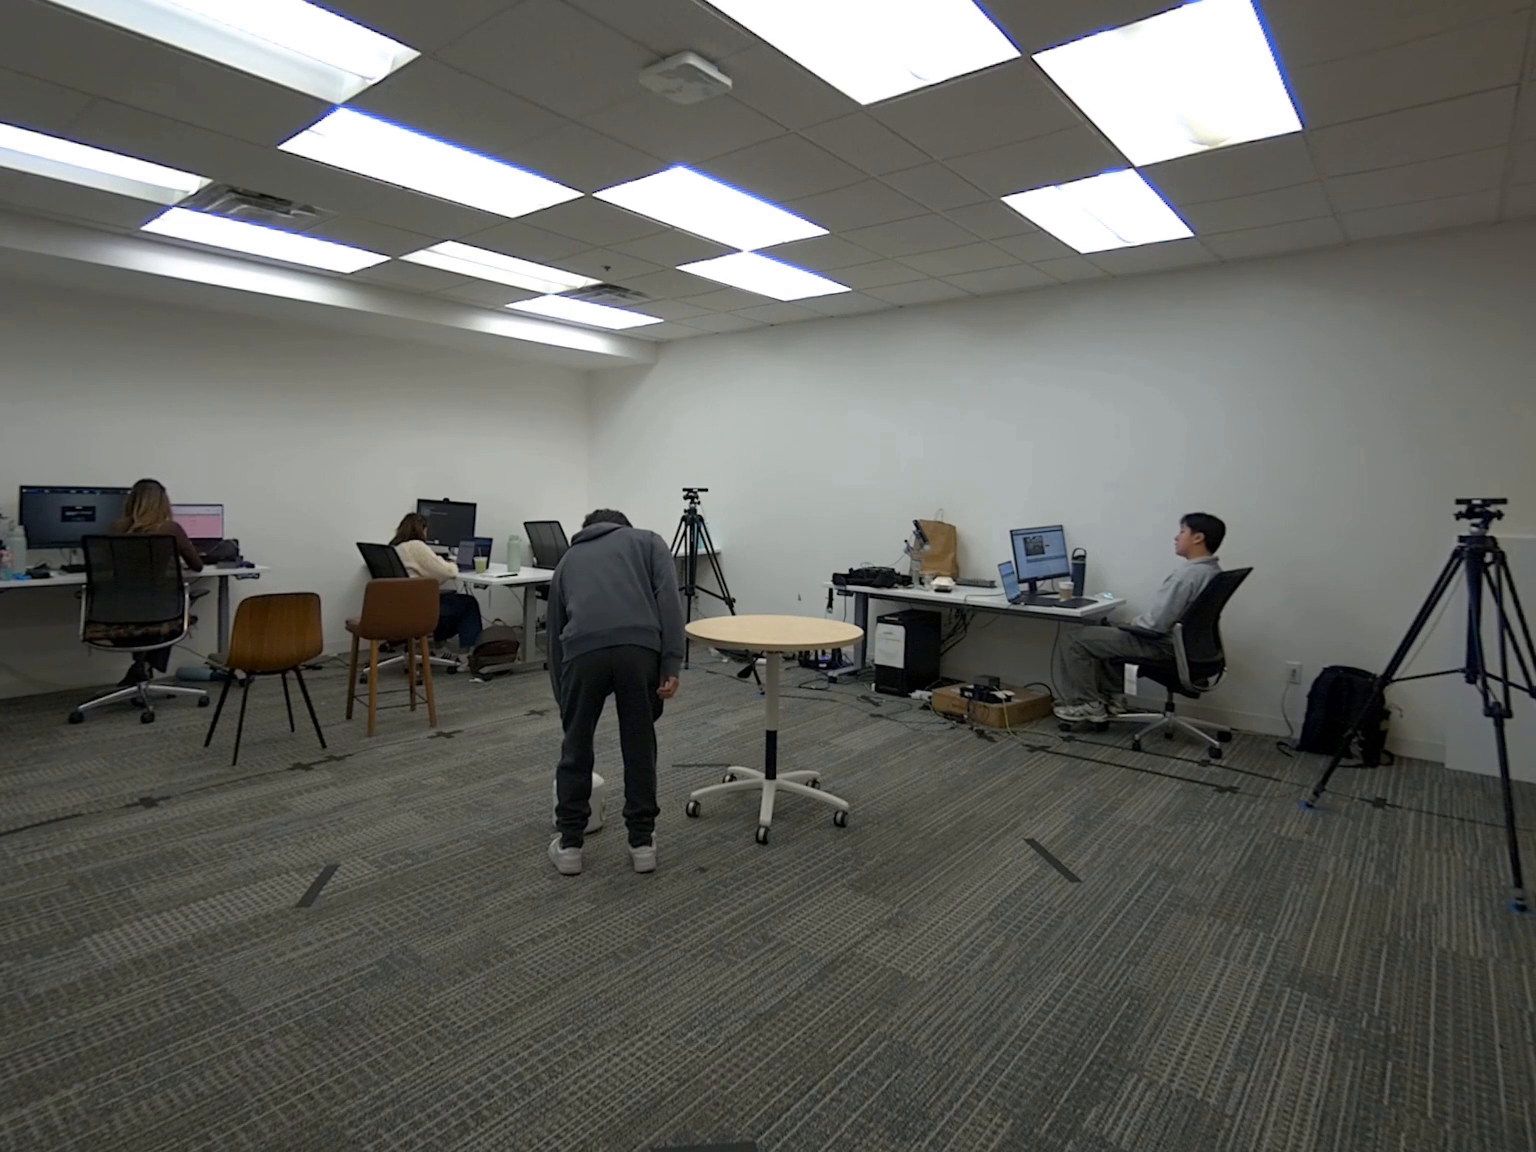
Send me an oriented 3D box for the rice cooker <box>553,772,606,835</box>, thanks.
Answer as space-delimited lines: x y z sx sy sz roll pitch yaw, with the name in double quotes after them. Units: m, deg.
-0.777 0.903 3.476 0.221 0.232 0.218 1 3 13 "rice cooker"
